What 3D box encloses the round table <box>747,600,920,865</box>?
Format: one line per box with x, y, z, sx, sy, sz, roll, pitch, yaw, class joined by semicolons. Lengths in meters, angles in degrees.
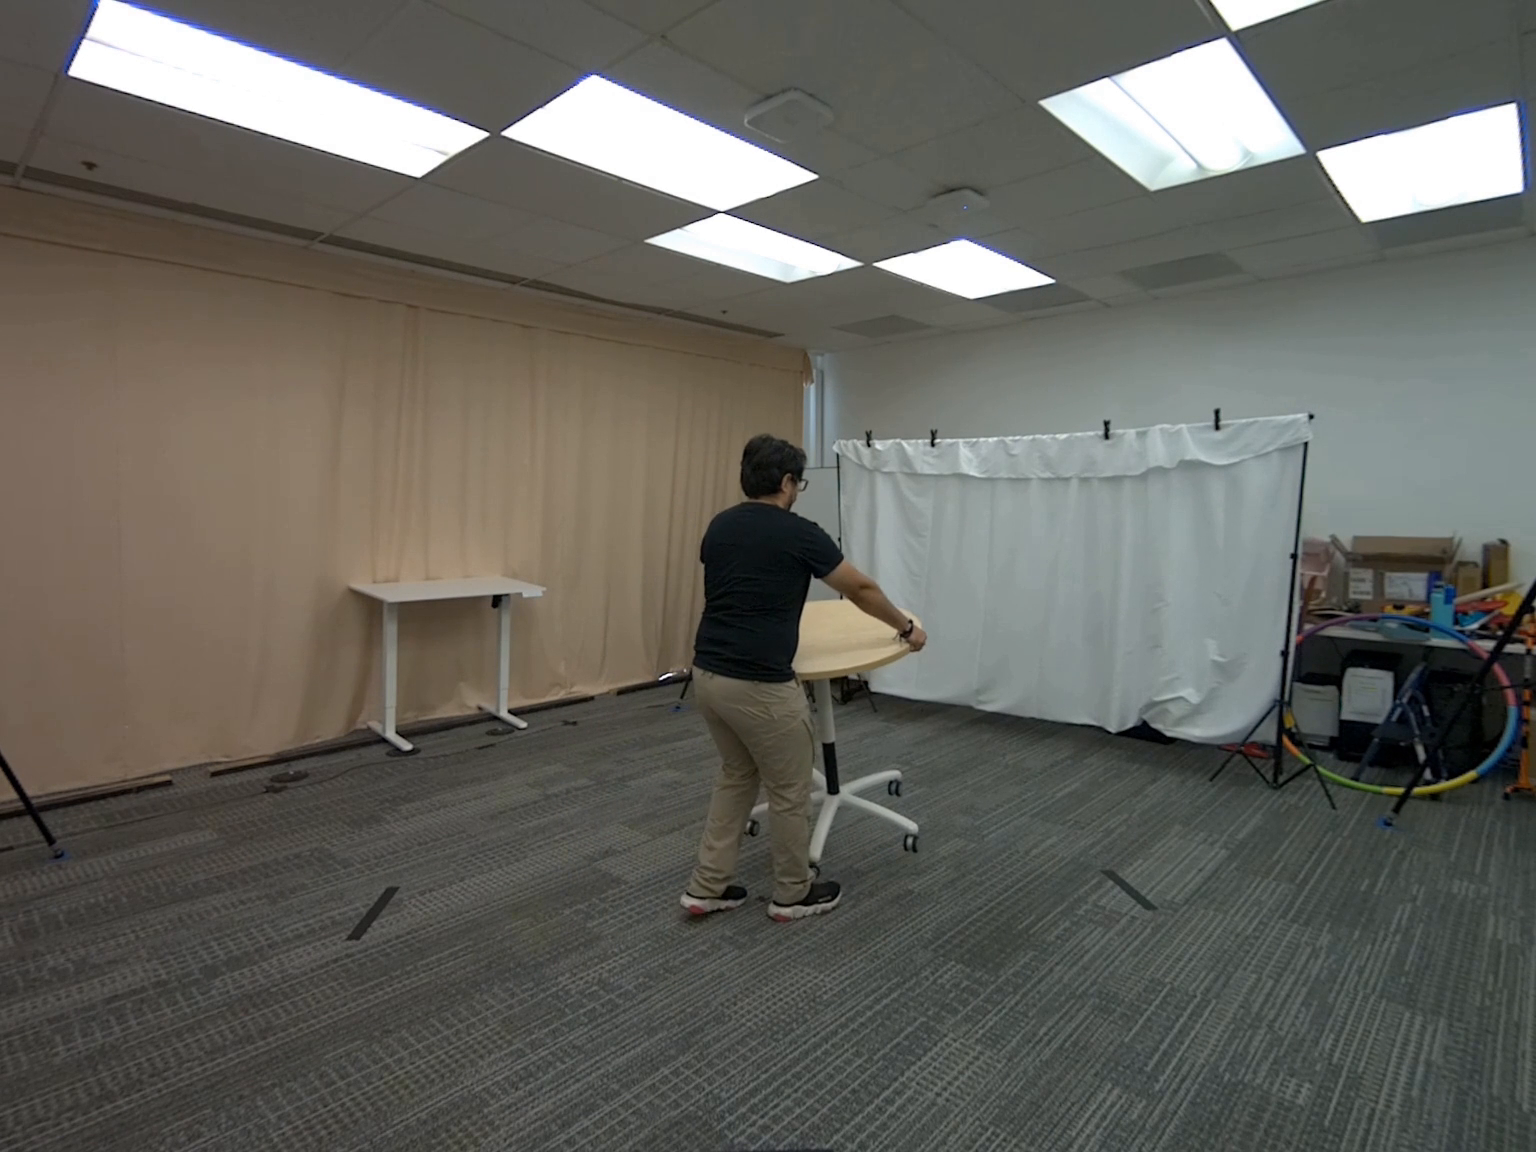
0.217;0.596;3.240;0.786;0.778;0.793;-7;14;0;round table
